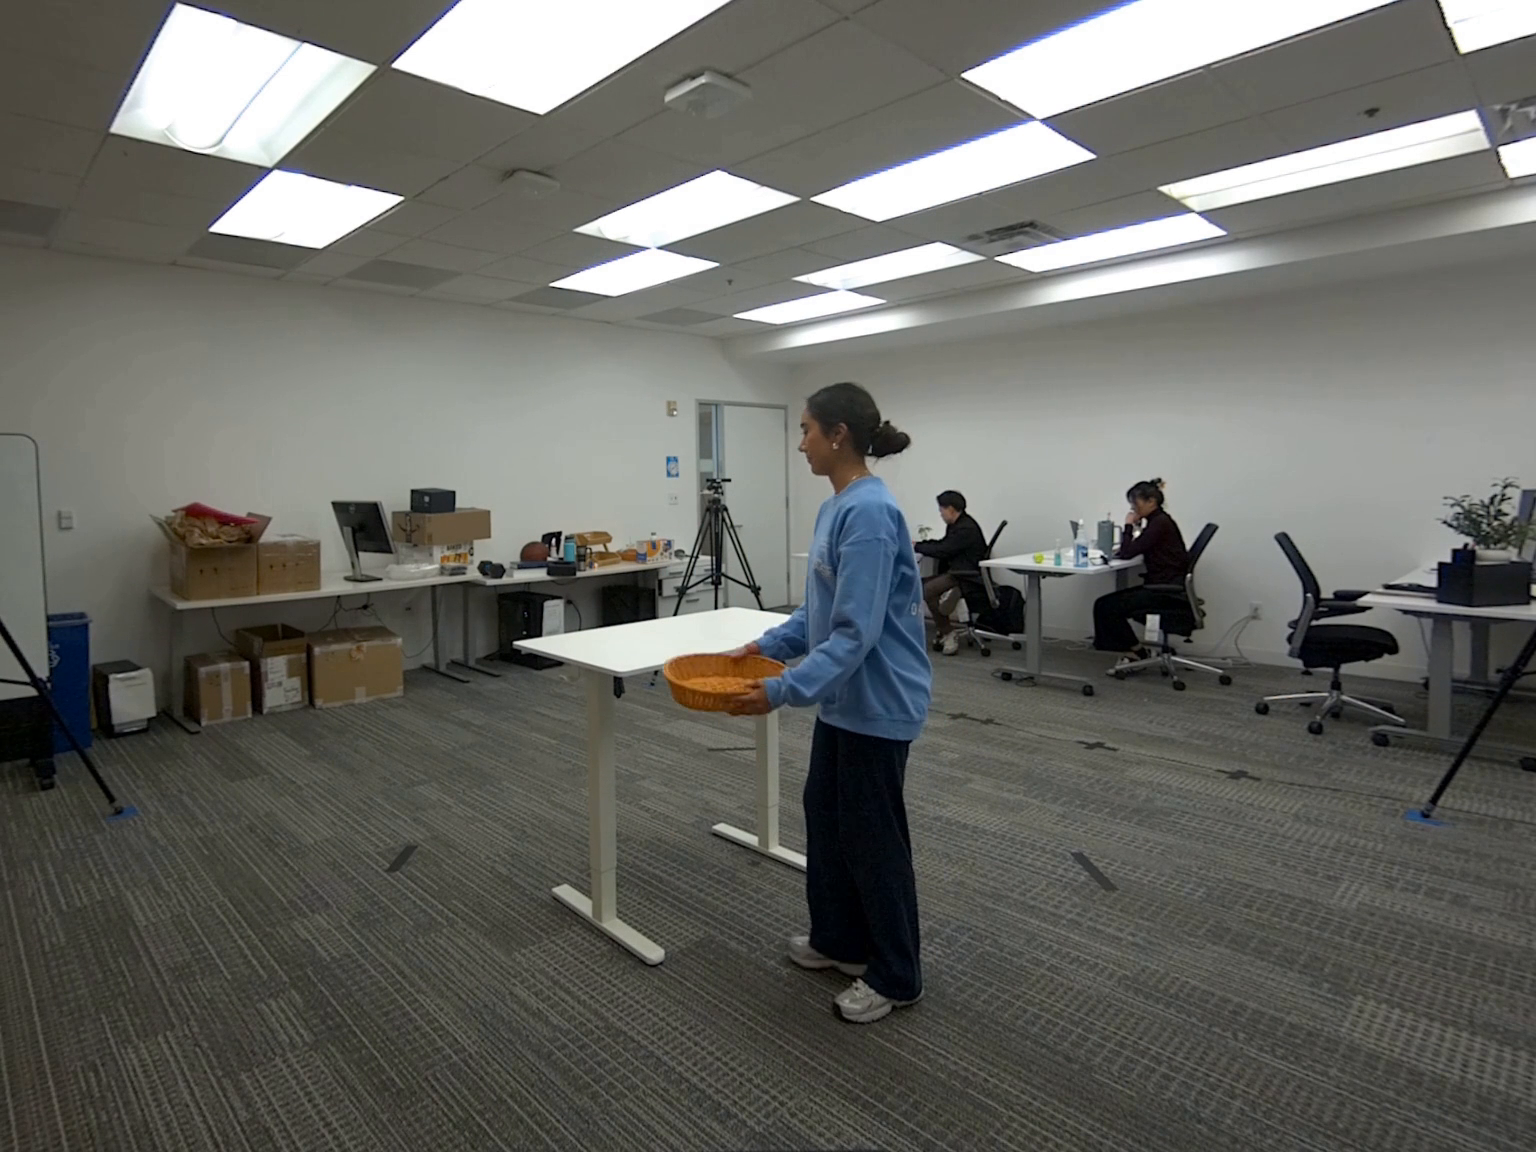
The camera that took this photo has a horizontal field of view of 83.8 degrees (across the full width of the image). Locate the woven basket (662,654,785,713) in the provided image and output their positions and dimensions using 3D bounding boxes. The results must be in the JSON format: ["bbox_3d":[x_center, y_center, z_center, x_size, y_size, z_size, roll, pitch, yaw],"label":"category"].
[{"bbox_3d":[-0.080,0.277,2.191,0.341,0.073,0.261,-4,16,-34],"label":"woven basket"}]
